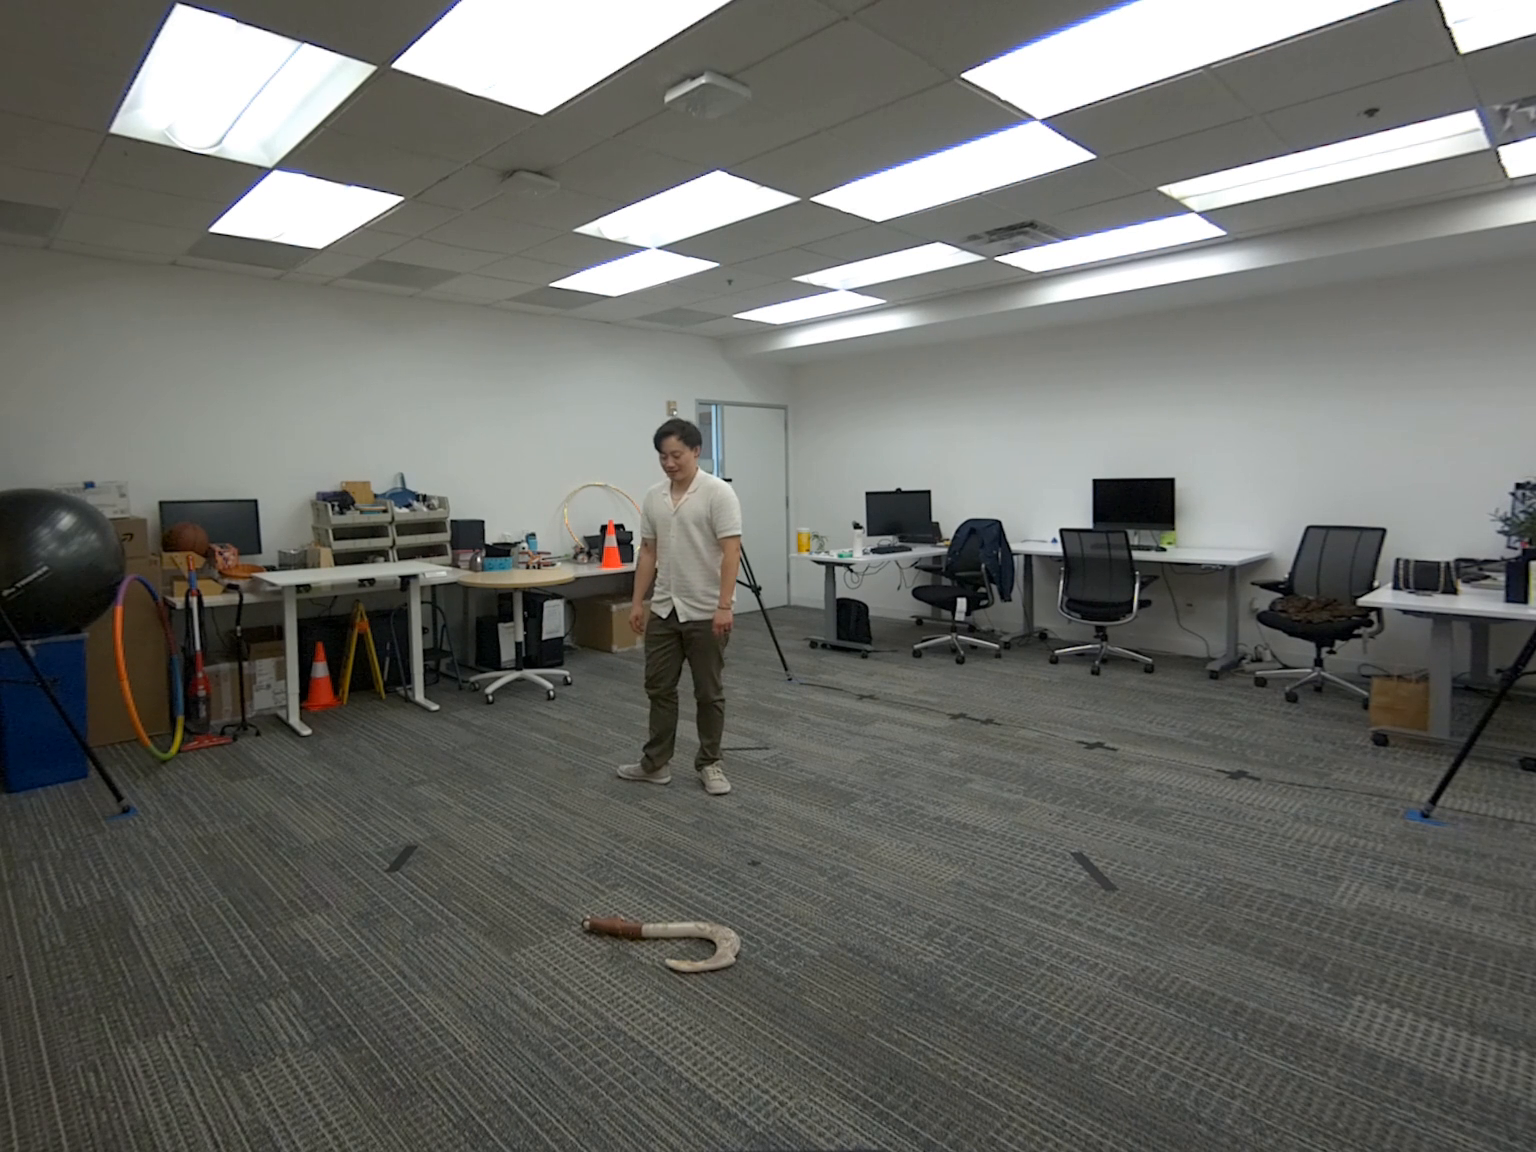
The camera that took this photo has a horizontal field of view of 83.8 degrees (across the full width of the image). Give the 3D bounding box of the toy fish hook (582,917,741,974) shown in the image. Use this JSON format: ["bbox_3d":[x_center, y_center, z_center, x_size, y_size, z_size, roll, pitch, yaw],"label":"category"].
[{"bbox_3d":[-0.336,1.092,2.554,0.513,0.048,0.222,0,5,13],"label":"toy fish hook"}]
